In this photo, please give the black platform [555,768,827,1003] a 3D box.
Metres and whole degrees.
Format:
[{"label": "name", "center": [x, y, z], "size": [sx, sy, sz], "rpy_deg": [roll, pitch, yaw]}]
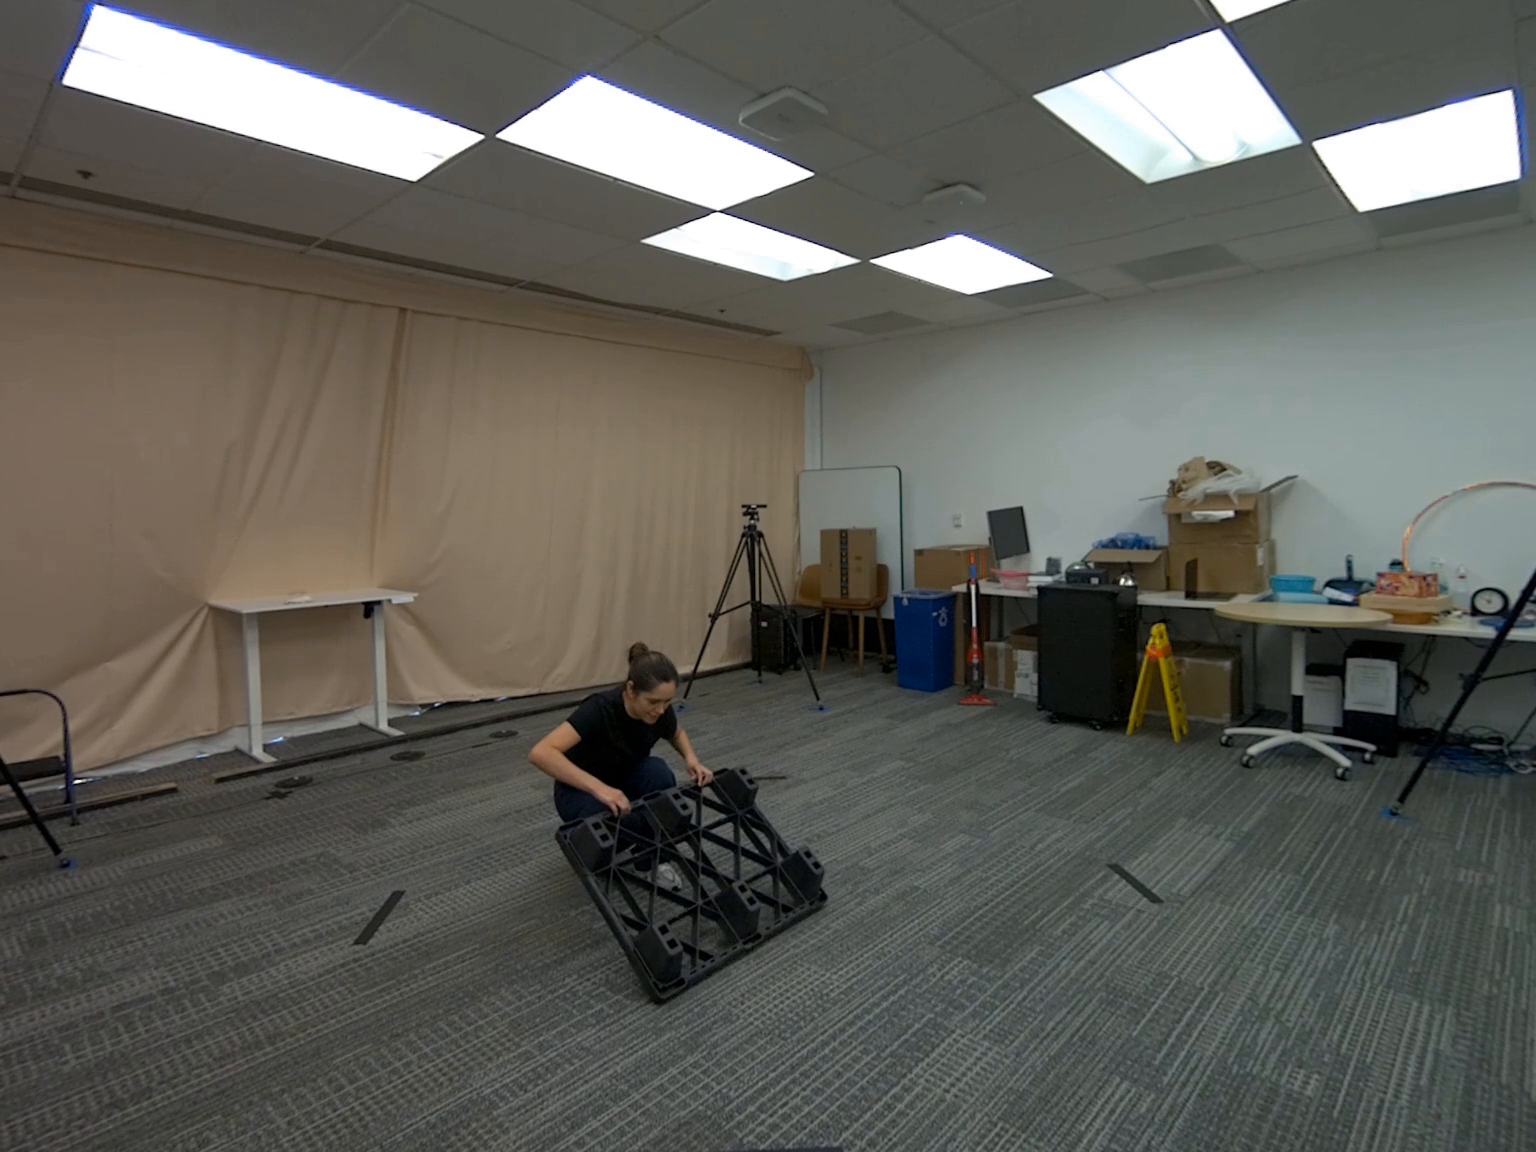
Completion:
[{"label": "black platform", "center": [-0.193, 0.932, 2.751], "size": [0.782, 0.143, 0.624], "rpy_deg": [-7, 44, -48]}]
